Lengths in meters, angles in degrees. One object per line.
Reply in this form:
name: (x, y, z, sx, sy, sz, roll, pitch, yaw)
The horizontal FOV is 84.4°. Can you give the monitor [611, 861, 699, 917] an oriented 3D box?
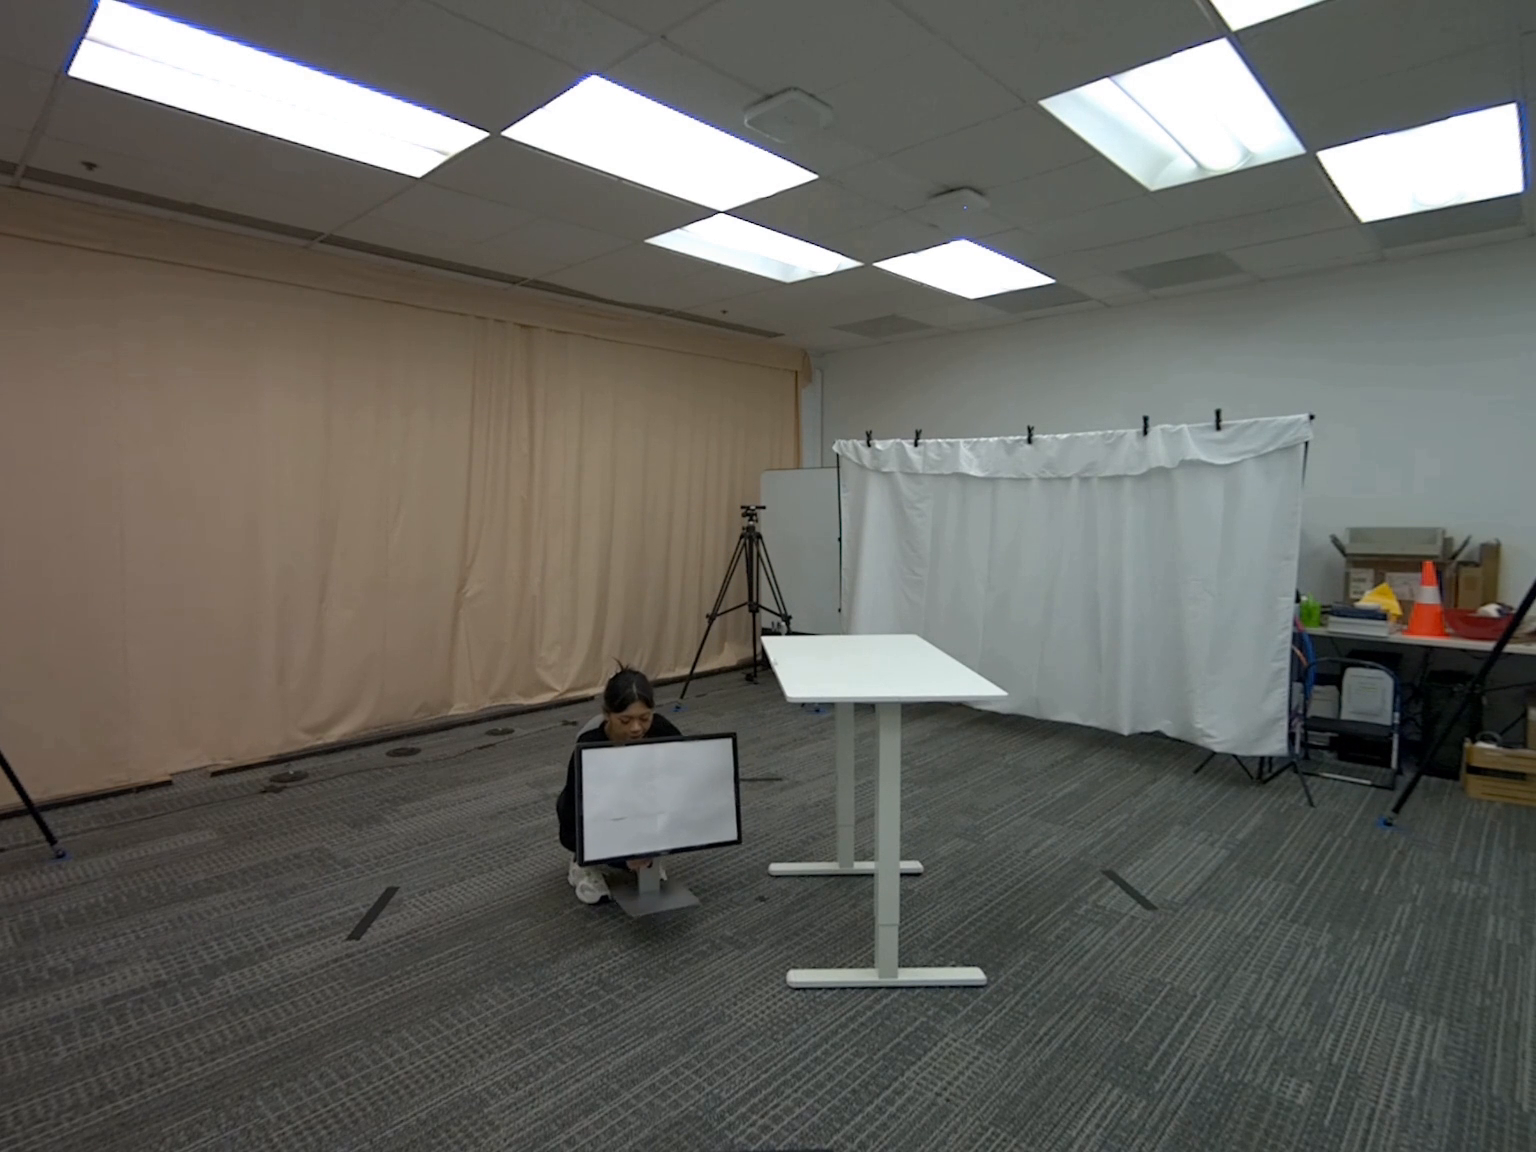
monitor: (-0.362, 0.786, 2.719, 0.524, 0.522, 0.192, -1, 2, -30)
